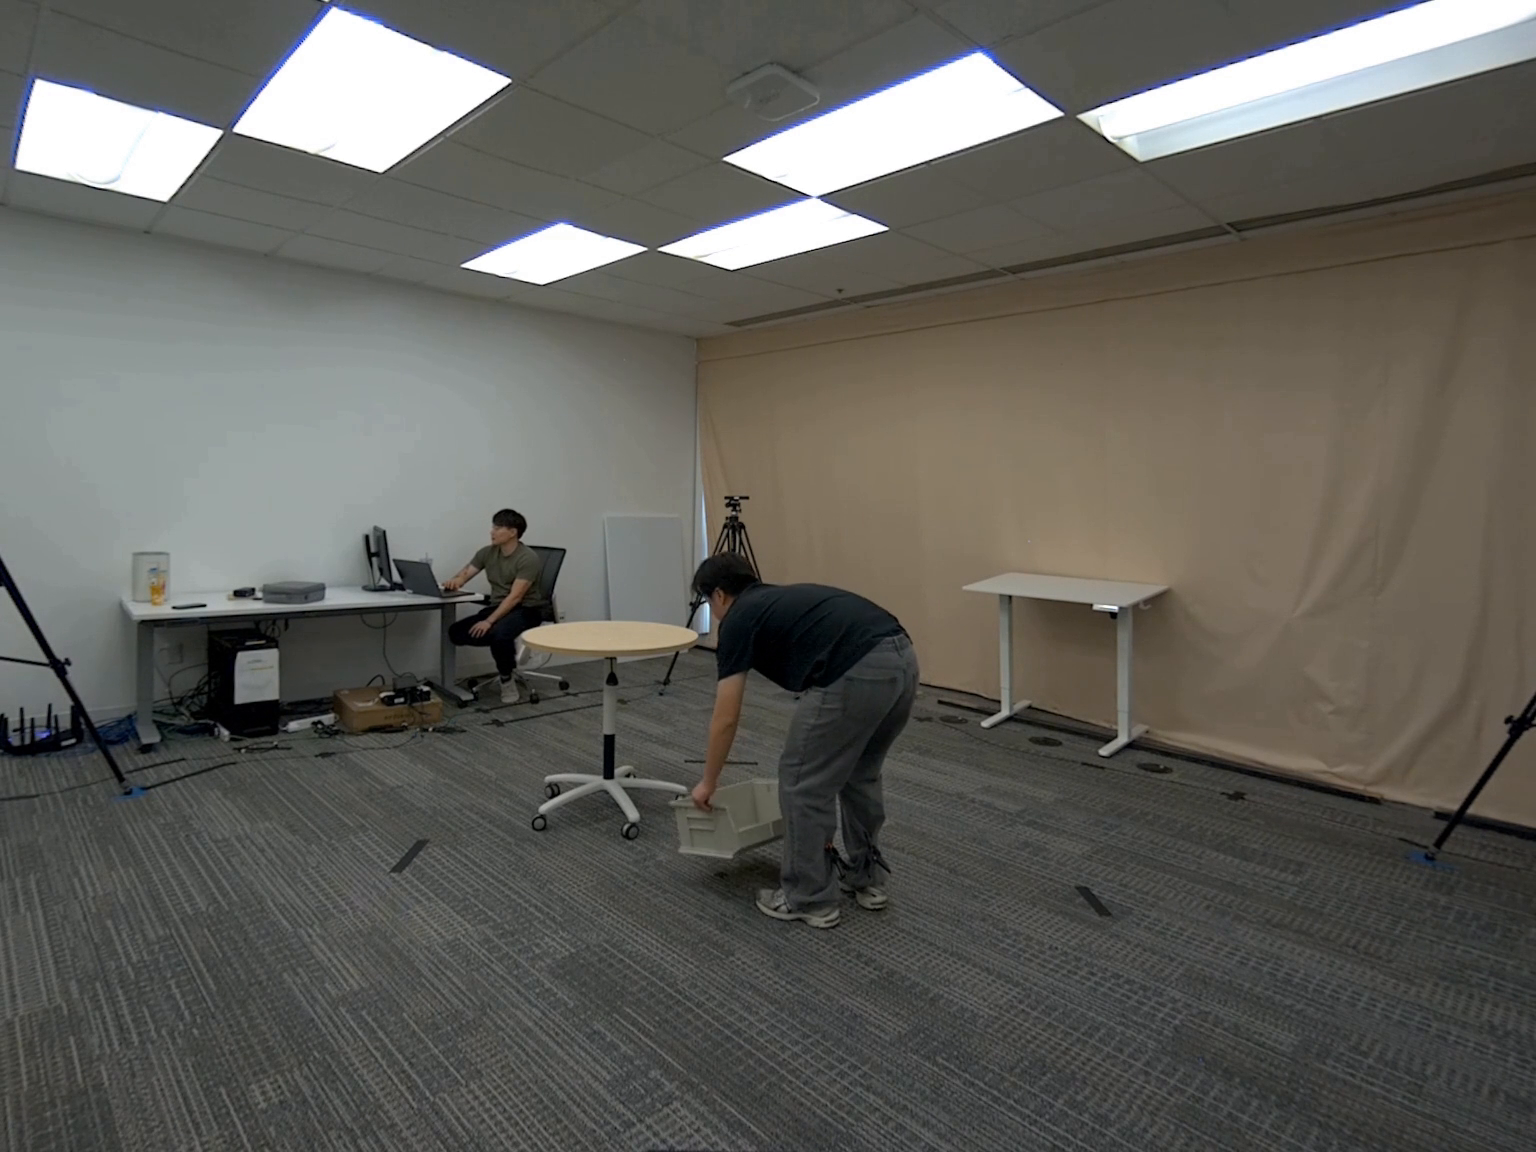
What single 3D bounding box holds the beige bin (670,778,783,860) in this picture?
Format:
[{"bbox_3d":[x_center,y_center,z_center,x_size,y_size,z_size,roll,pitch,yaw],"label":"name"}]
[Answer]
[{"bbox_3d":[-0.086,0.872,3.073,0.413,0.190,0.383,-4,-7,-41],"label":"beige bin"}]
